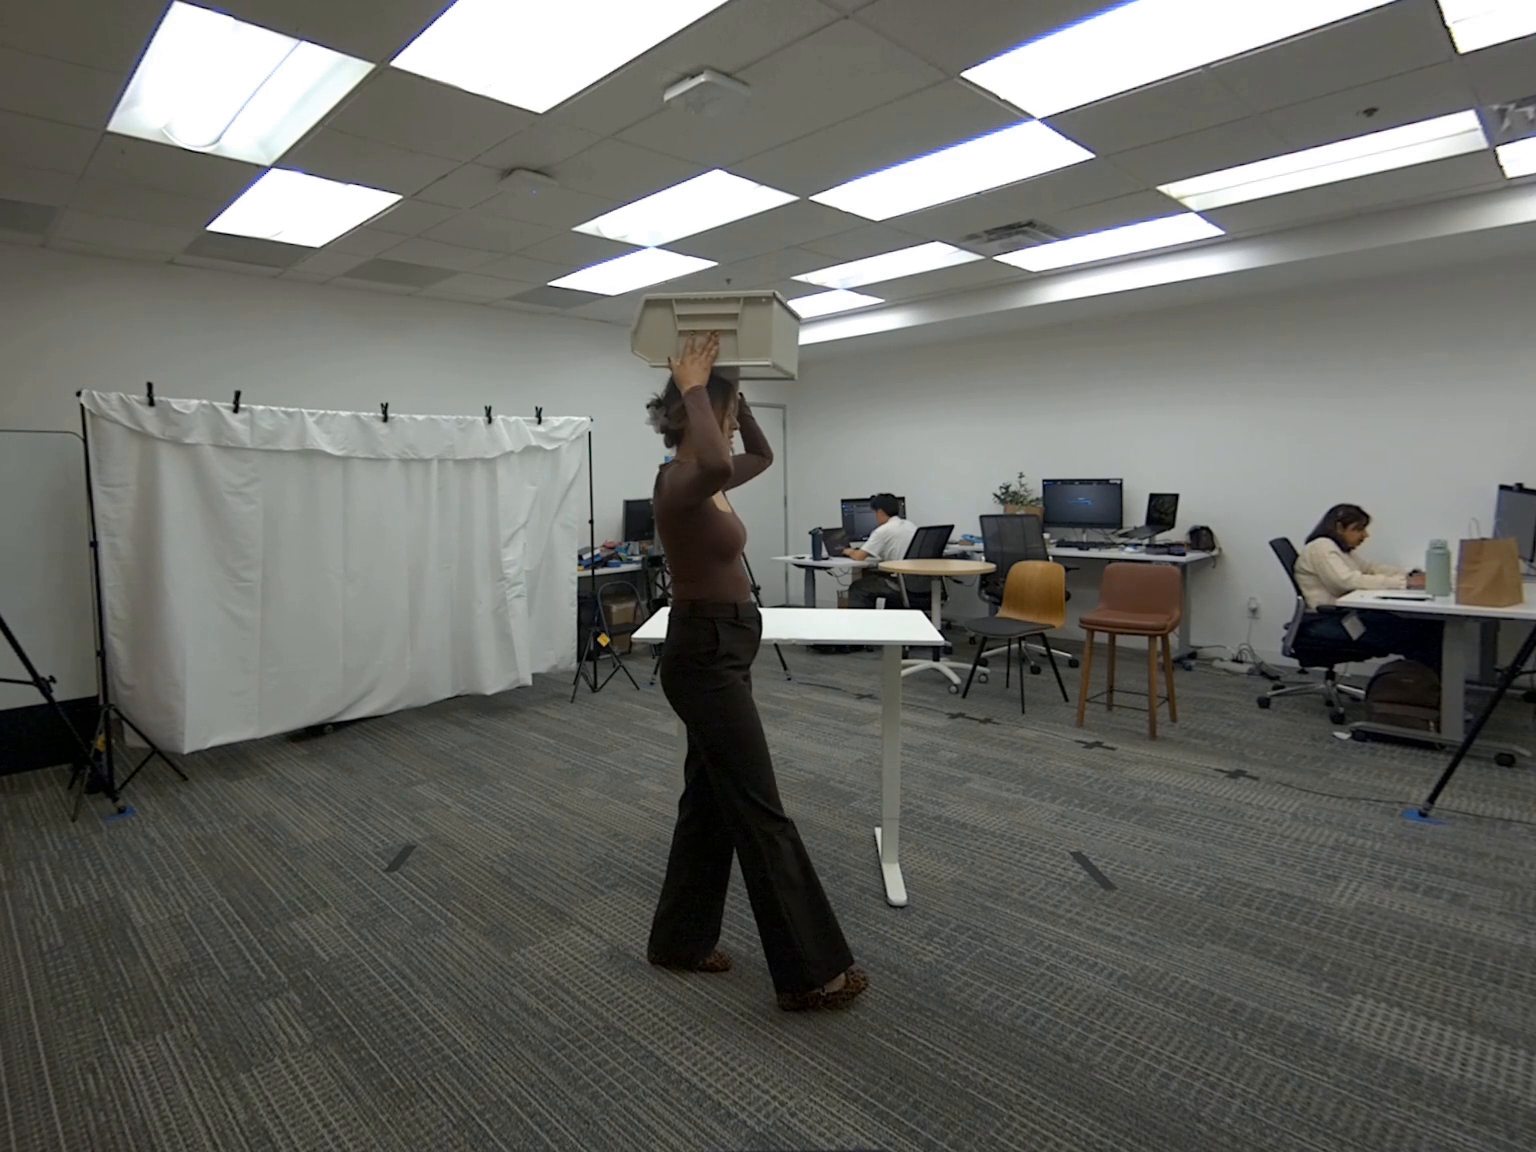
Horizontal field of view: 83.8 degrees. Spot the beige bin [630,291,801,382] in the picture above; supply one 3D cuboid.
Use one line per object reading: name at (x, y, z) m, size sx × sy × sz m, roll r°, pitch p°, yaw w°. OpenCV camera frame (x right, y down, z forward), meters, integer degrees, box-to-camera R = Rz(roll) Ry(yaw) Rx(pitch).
beige bin at (-0.122, -0.642, 2.320) m, size 0.382 × 0.188 × 0.419 m, roll 3°, pitch 7°, yaw 12°
